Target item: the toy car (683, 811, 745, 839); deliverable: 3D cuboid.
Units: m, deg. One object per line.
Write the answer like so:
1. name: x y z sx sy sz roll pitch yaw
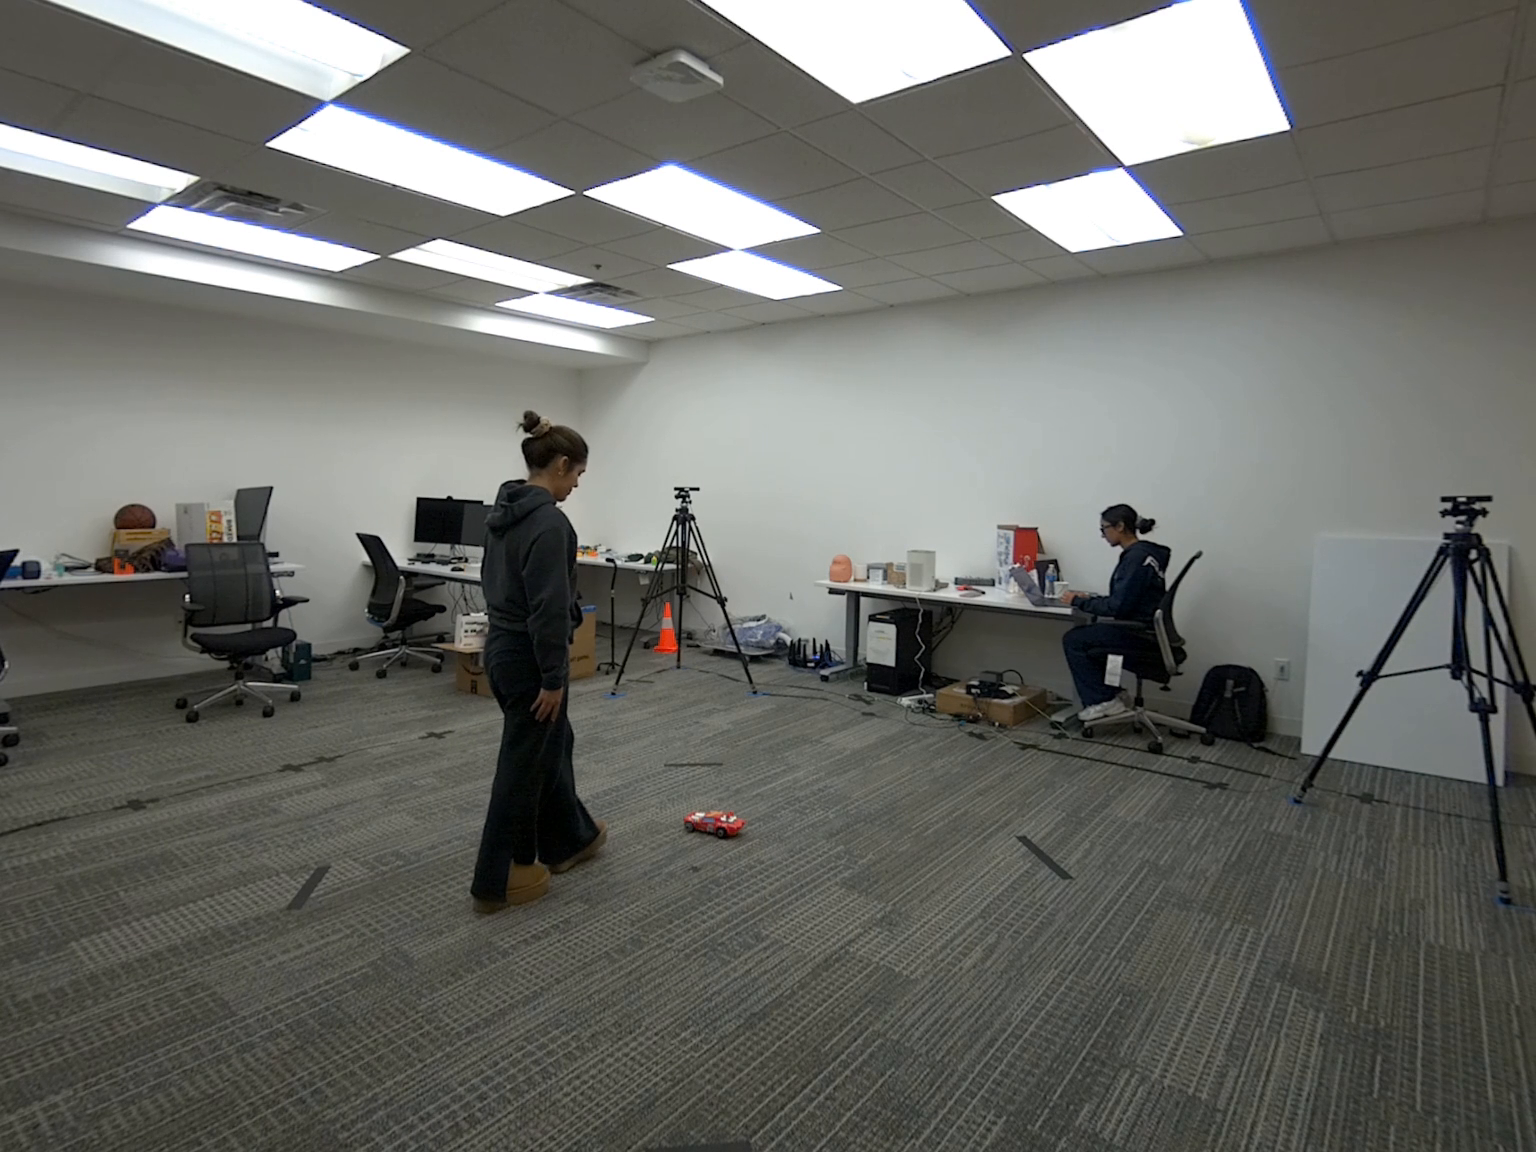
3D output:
1. toy car: -0.217 1.003 3.448 0.260 0.083 0.127 -8 0 25
